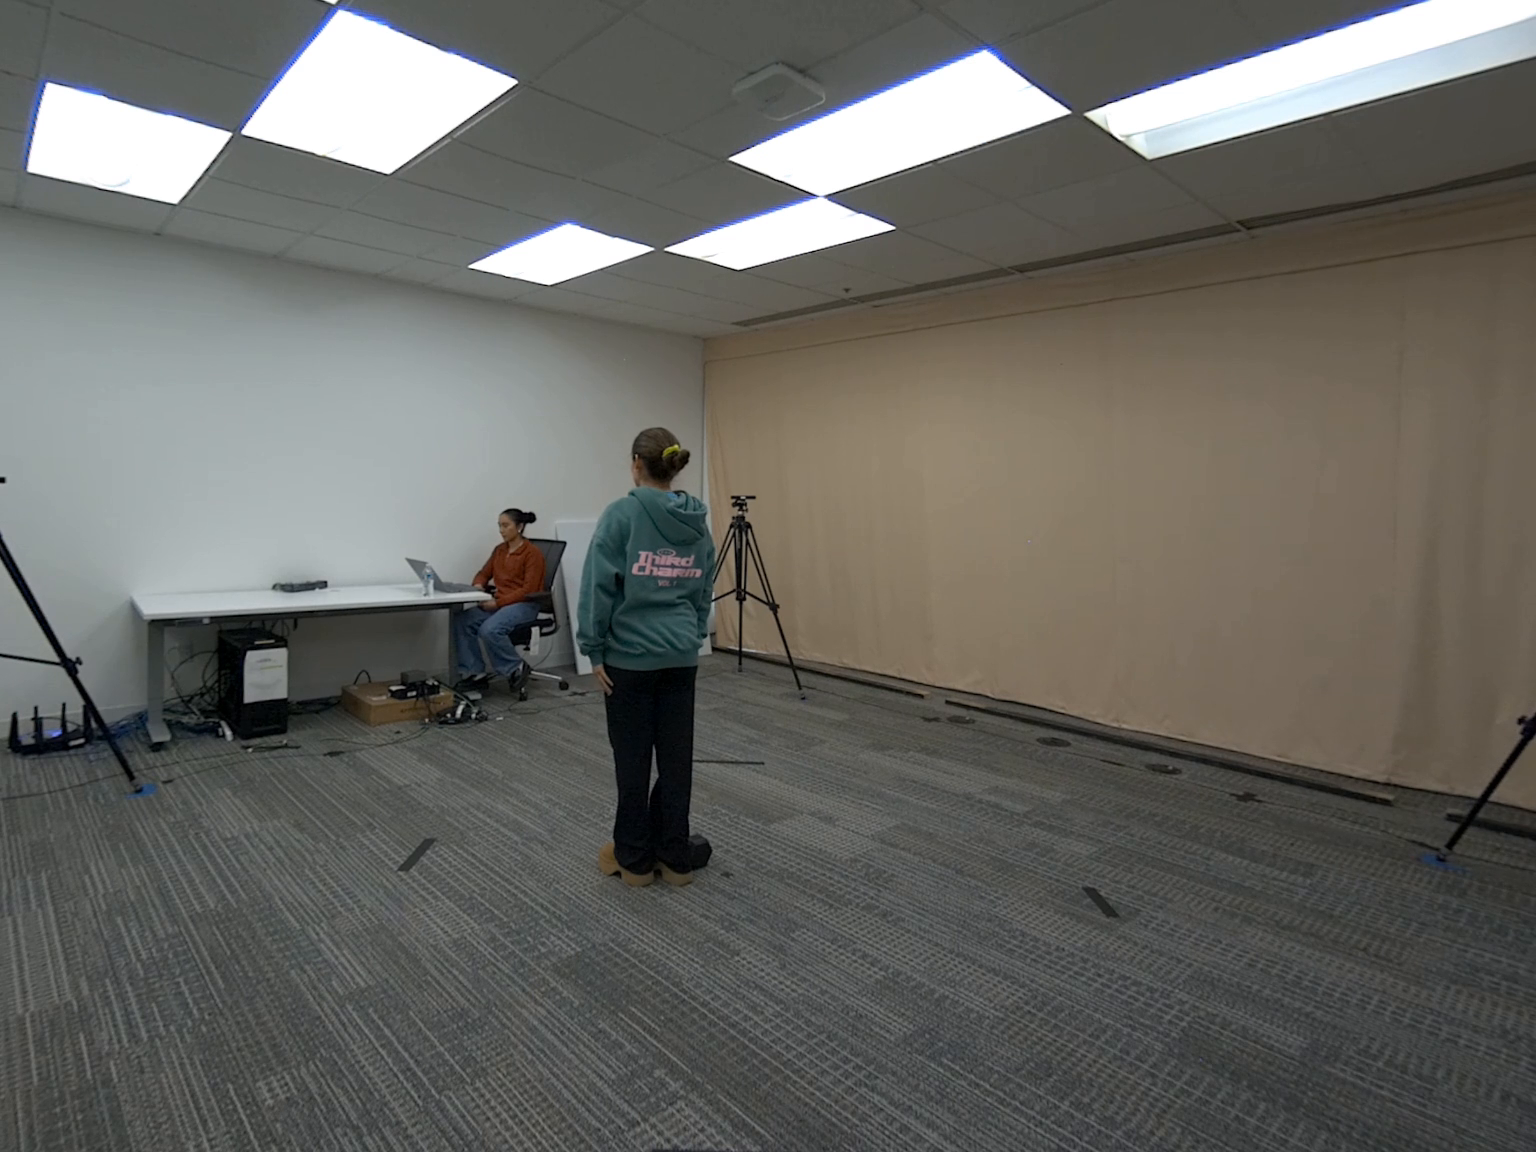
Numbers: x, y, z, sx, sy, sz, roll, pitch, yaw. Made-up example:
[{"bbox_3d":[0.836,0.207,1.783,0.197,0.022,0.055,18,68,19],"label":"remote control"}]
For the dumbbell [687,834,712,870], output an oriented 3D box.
[{"bbox_3d":[-0.347,1.028,3.253,0.105,0.123,0.301,38,-18,-36],"label":"dumbbell"}]
